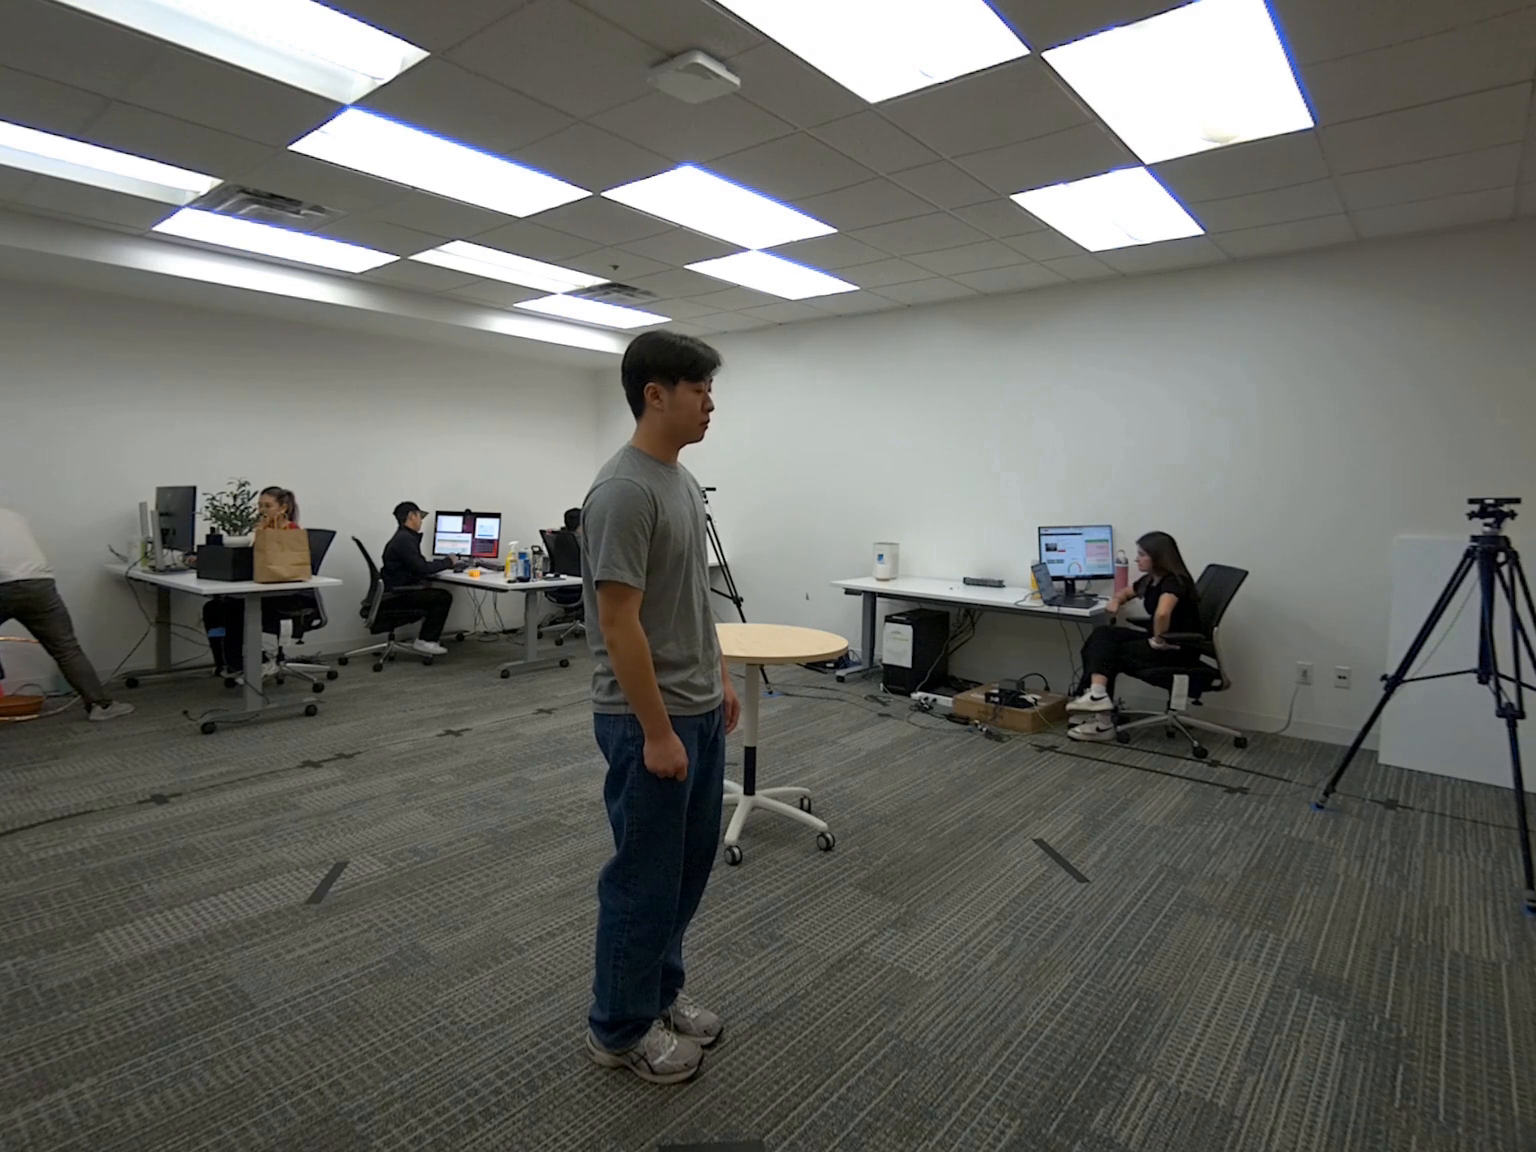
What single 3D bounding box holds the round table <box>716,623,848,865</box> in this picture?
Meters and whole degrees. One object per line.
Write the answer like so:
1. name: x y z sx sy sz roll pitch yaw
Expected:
1. round table: -0.077 0.643 3.474 0.763 0.791 0.768 2 4 -2
